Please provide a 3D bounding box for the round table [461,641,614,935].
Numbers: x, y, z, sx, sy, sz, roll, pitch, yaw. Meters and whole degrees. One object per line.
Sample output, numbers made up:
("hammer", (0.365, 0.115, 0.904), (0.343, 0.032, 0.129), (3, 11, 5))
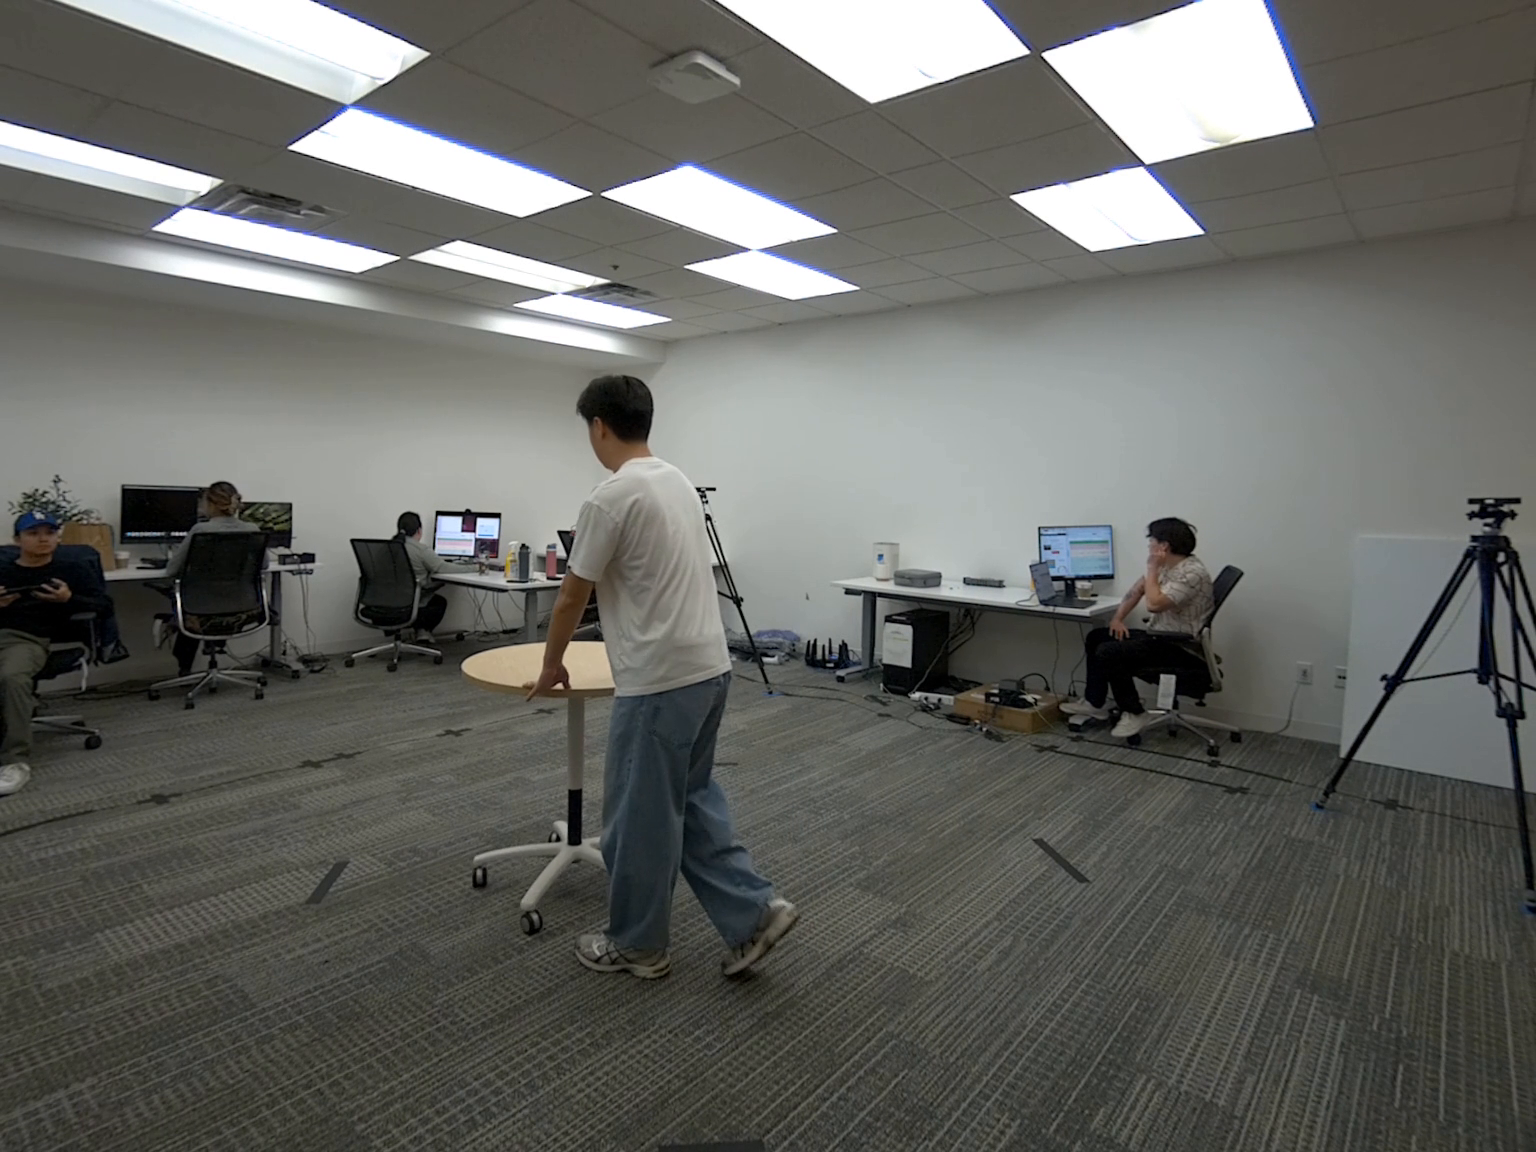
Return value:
("round table", (-0.669, 0.685, 2.952), (0.763, 0.791, 0.768), (1, 4, -2))
